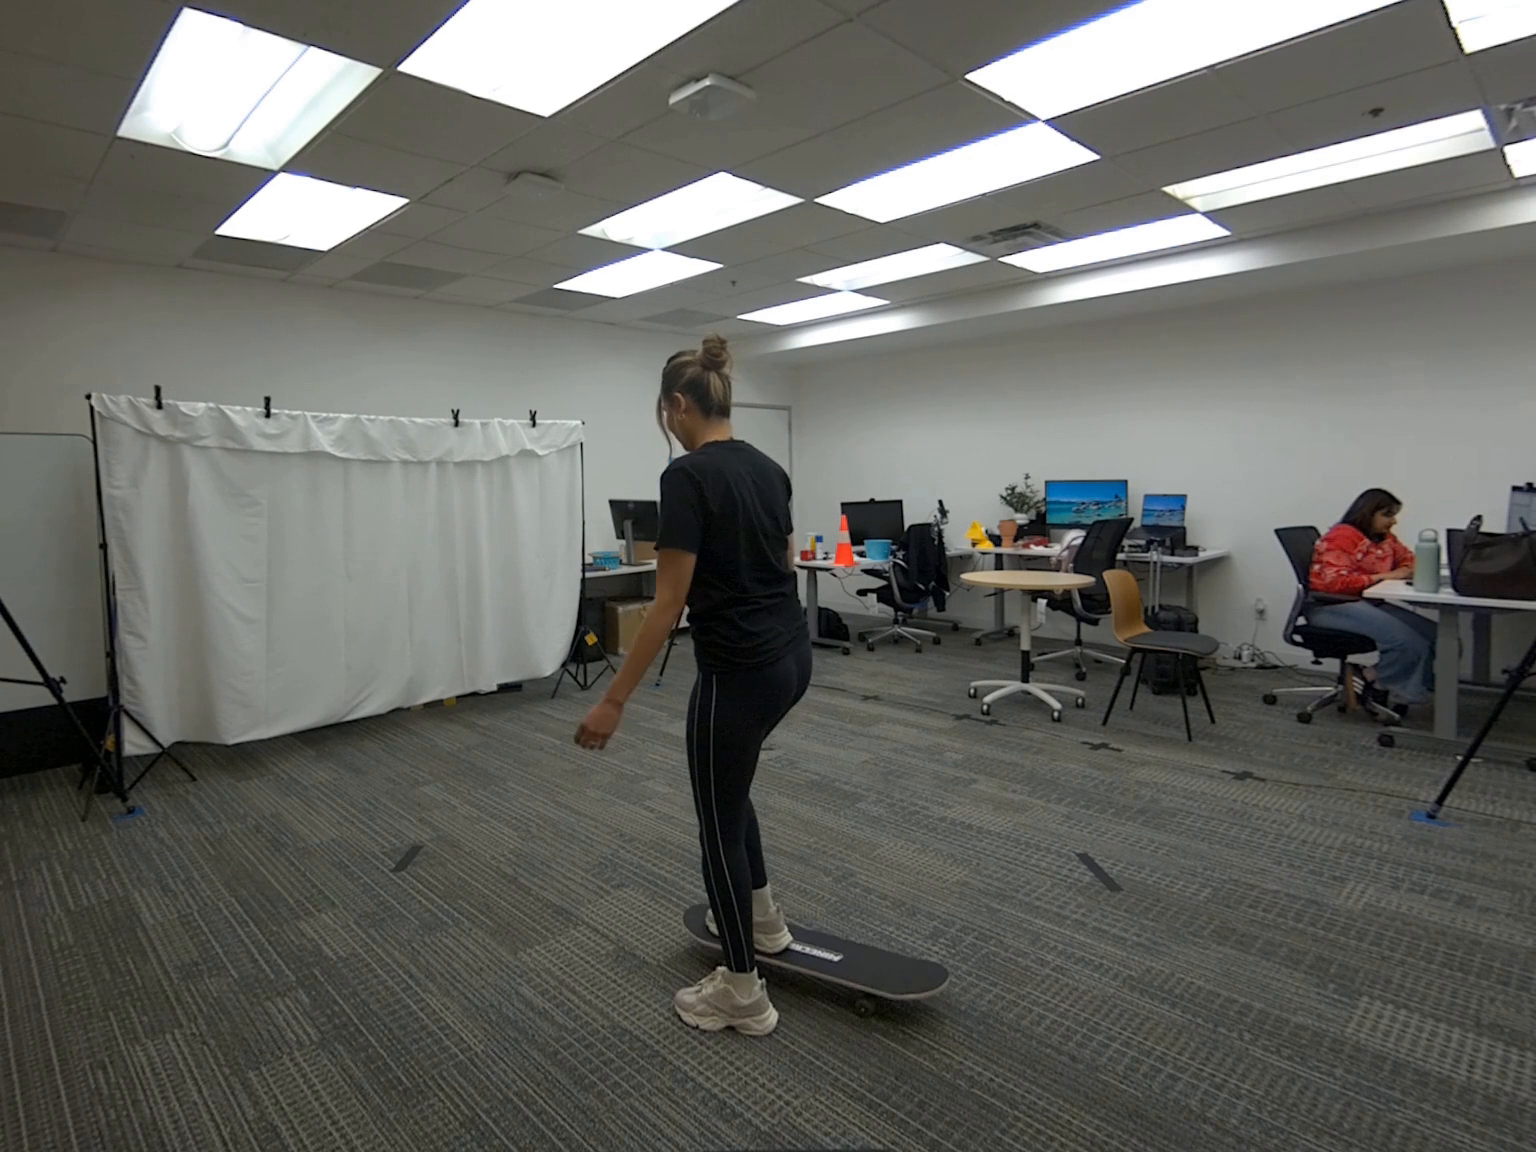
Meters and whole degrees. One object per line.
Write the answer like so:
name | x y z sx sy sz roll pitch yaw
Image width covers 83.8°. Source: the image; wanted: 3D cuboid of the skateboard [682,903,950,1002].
skateboard | 0.112 1.068 2.386 0.805 0.110 0.189 2 6 28
